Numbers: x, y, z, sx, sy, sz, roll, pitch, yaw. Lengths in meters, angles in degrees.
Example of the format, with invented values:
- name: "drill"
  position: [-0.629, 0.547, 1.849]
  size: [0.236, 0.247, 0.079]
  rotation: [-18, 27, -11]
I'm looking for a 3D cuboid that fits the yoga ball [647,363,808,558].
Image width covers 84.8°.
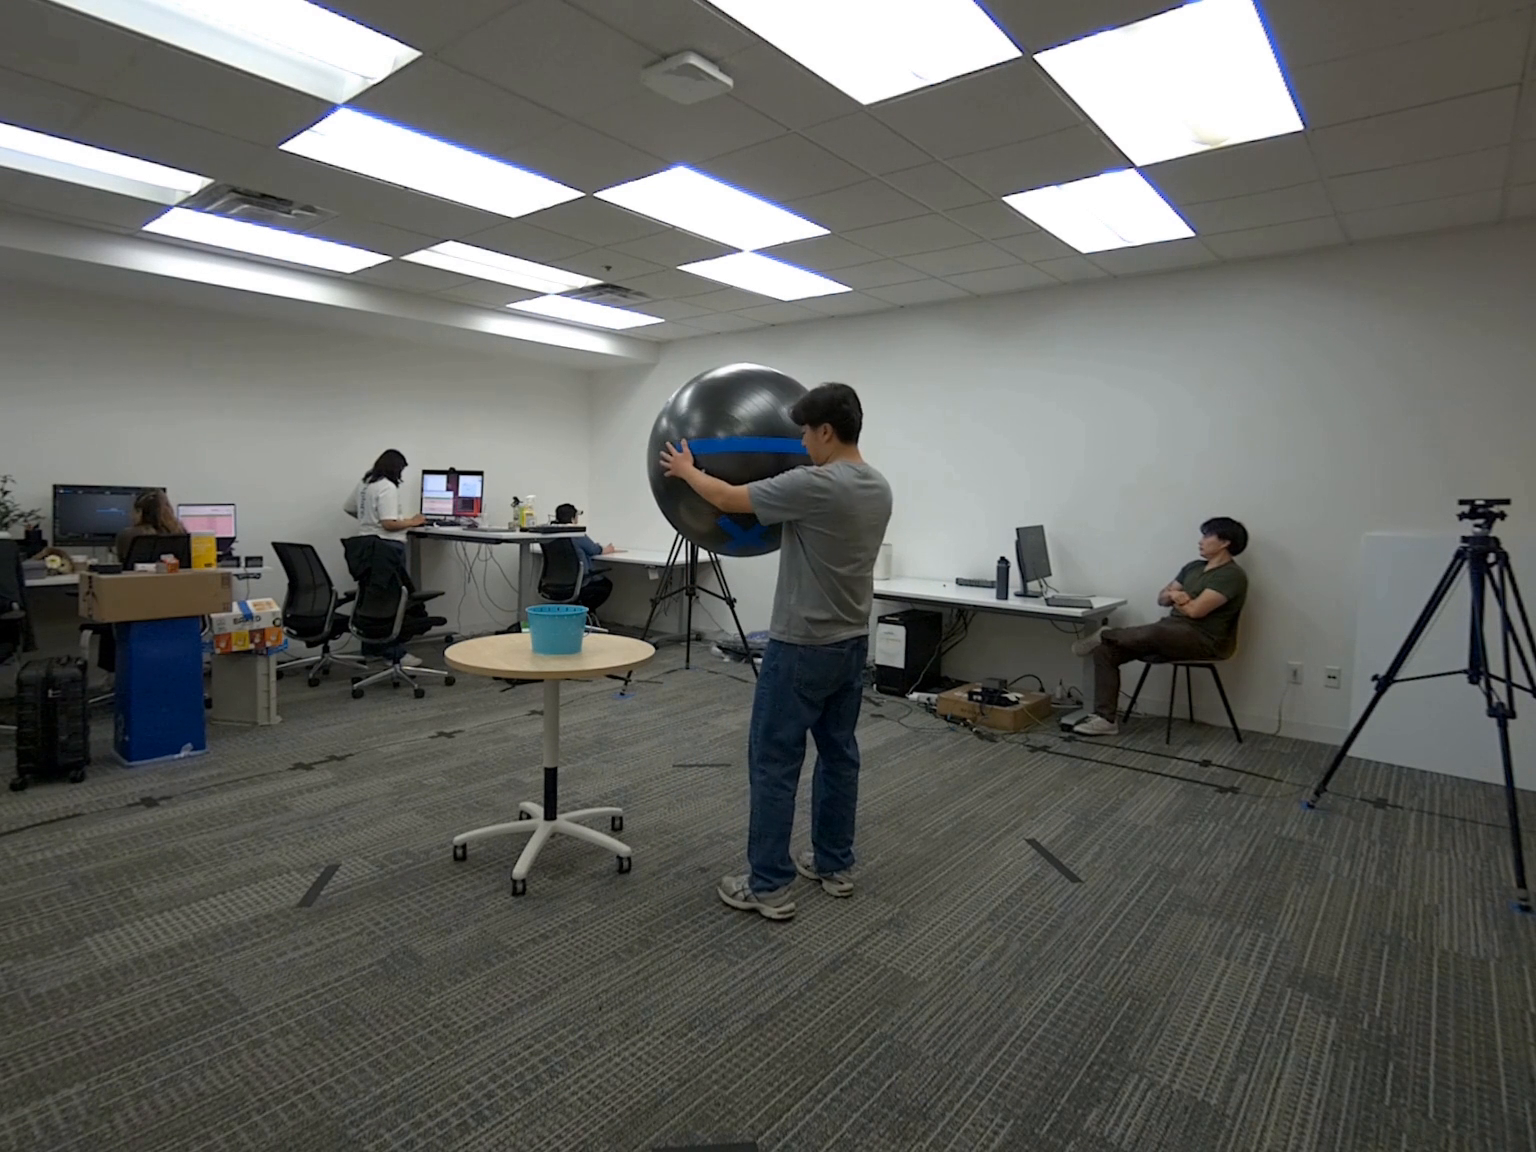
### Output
- name: "yoga ball"
  position: [-0.114, -0.443, 3.386]
  size: [0.757, 0.755, 0.762]
  rotation: [1, 4, -2]
